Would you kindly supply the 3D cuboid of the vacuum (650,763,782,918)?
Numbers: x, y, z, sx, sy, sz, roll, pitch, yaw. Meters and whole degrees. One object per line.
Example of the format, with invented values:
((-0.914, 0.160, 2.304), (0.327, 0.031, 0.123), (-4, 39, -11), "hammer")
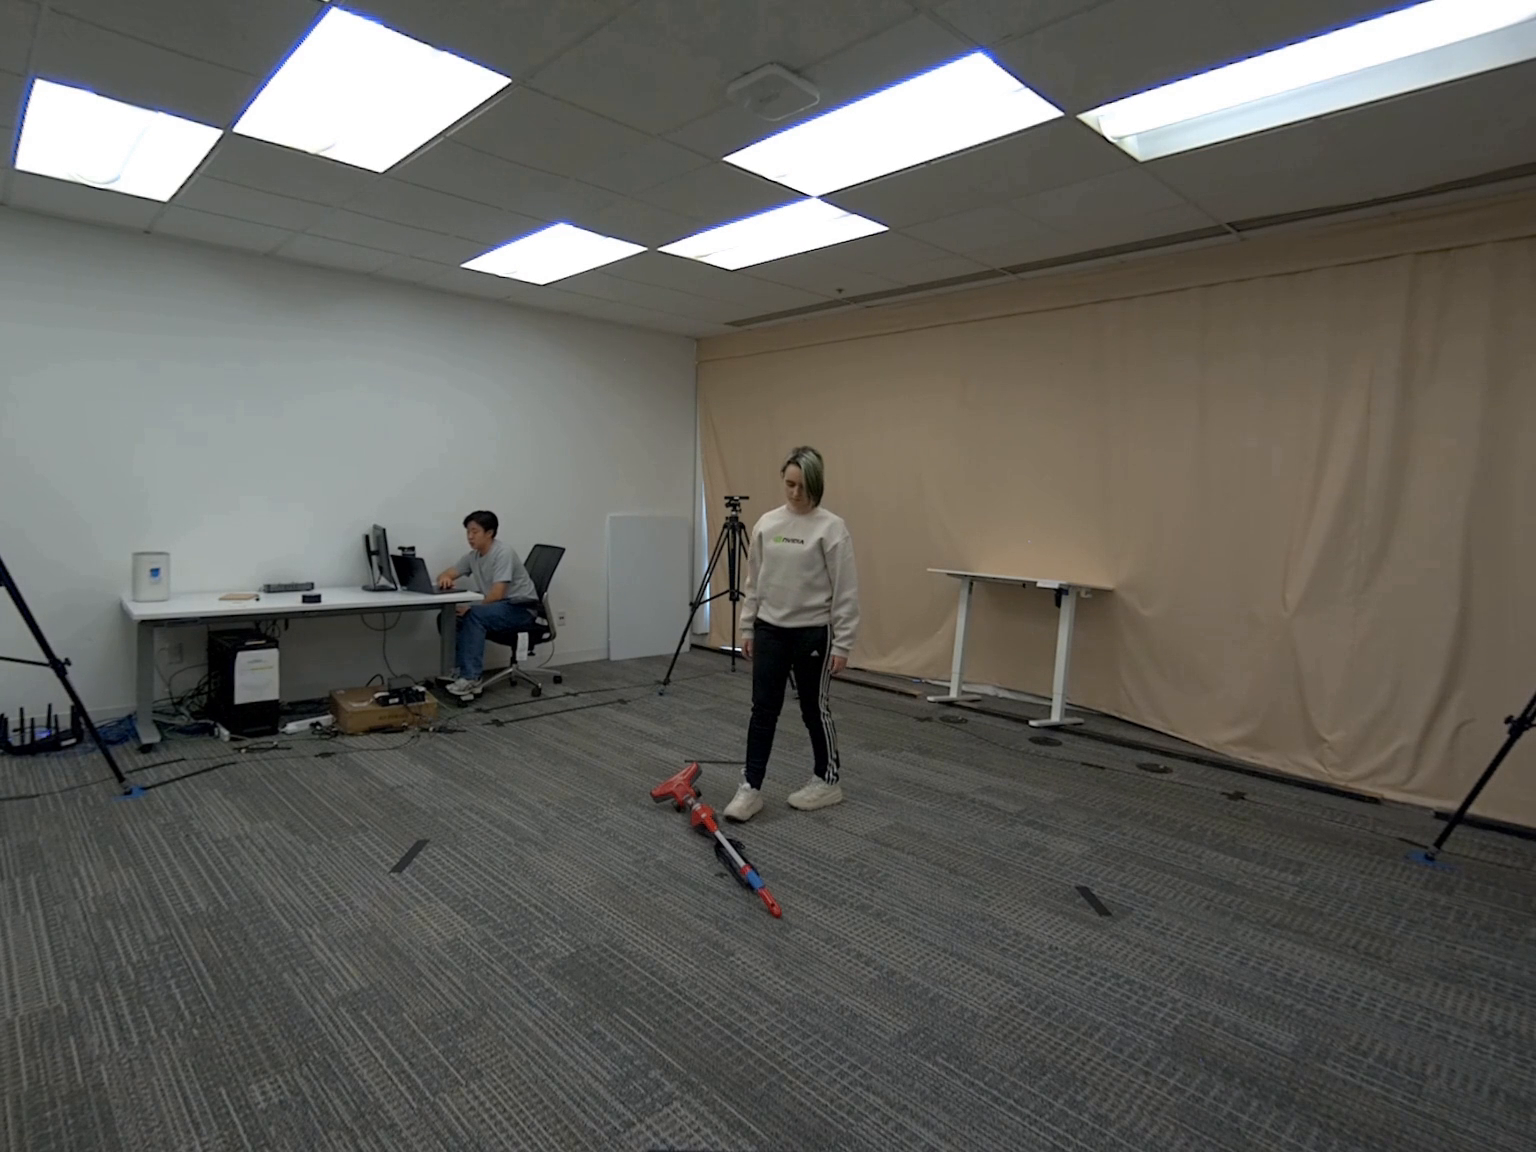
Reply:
((-0.186, 1.034, 3.285), (0.252, 0.141, 1.072), (-35, 20, -14), "vacuum")
